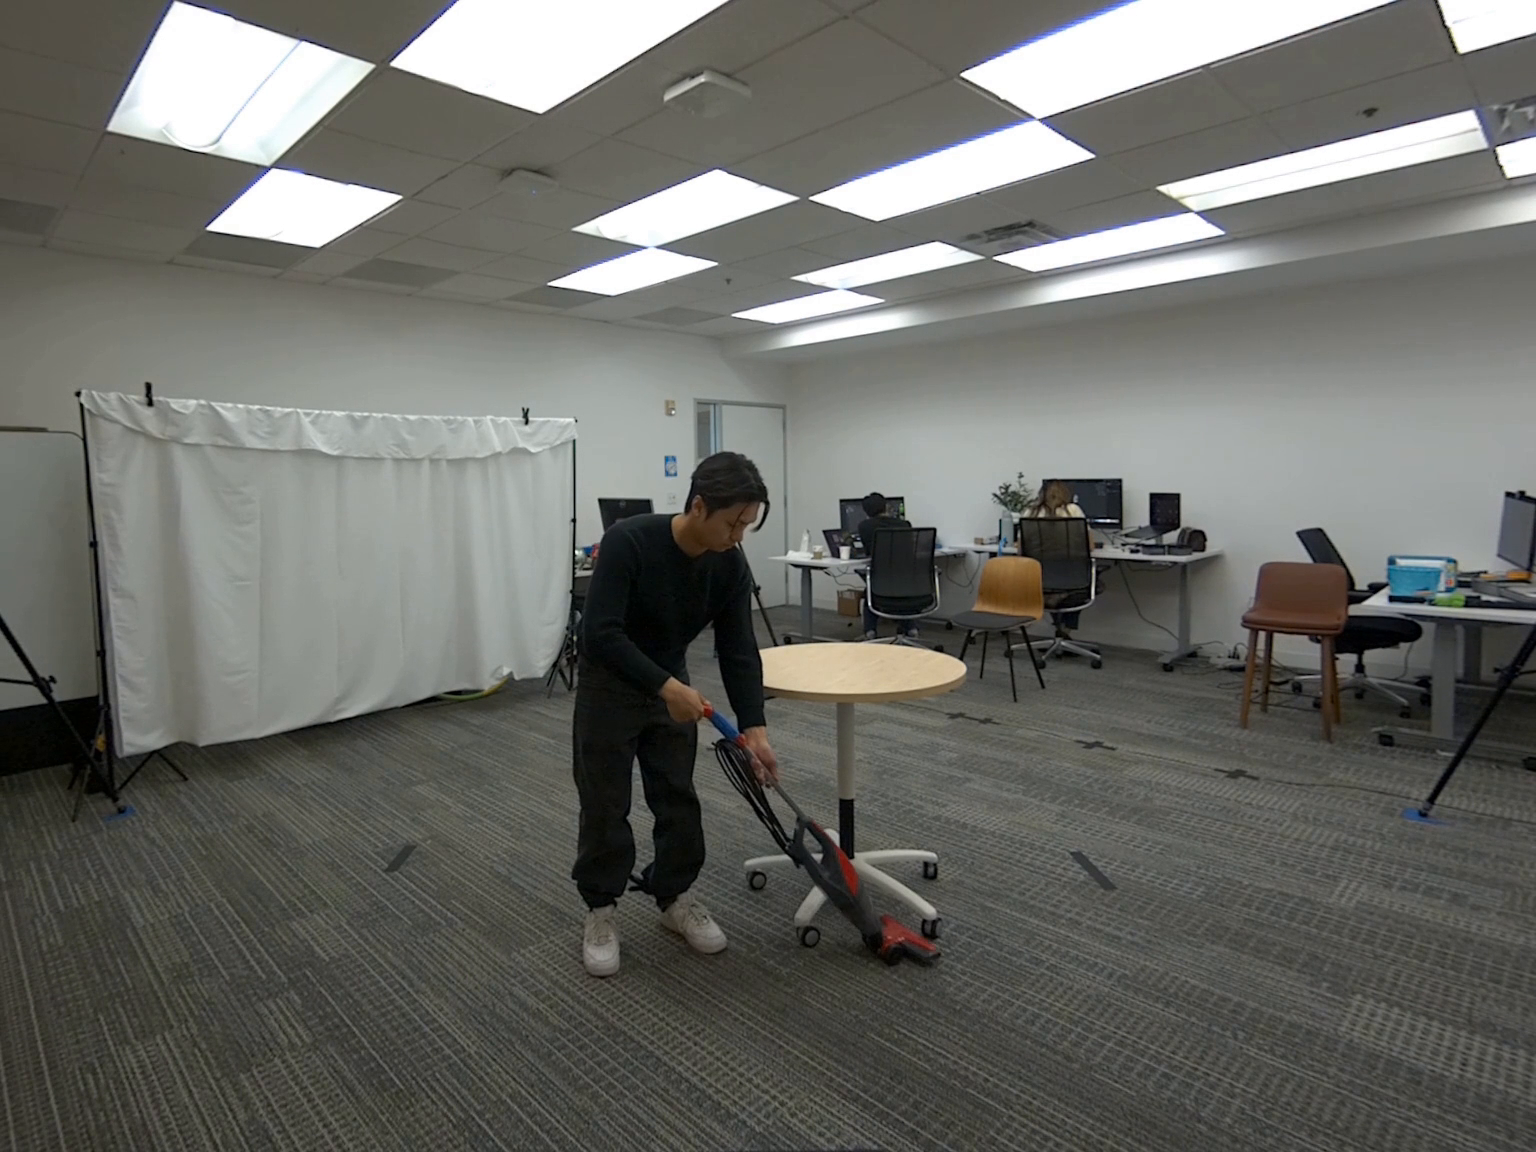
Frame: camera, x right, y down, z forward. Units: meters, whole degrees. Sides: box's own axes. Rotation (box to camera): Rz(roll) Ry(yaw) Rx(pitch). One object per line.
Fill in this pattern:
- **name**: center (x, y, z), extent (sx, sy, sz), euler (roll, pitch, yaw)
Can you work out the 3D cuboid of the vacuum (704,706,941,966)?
- **vacuum**: center (0.057, 0.694, 2.360), extent (0.144, 1.025, 0.259), euler (-43, 18, -7)
